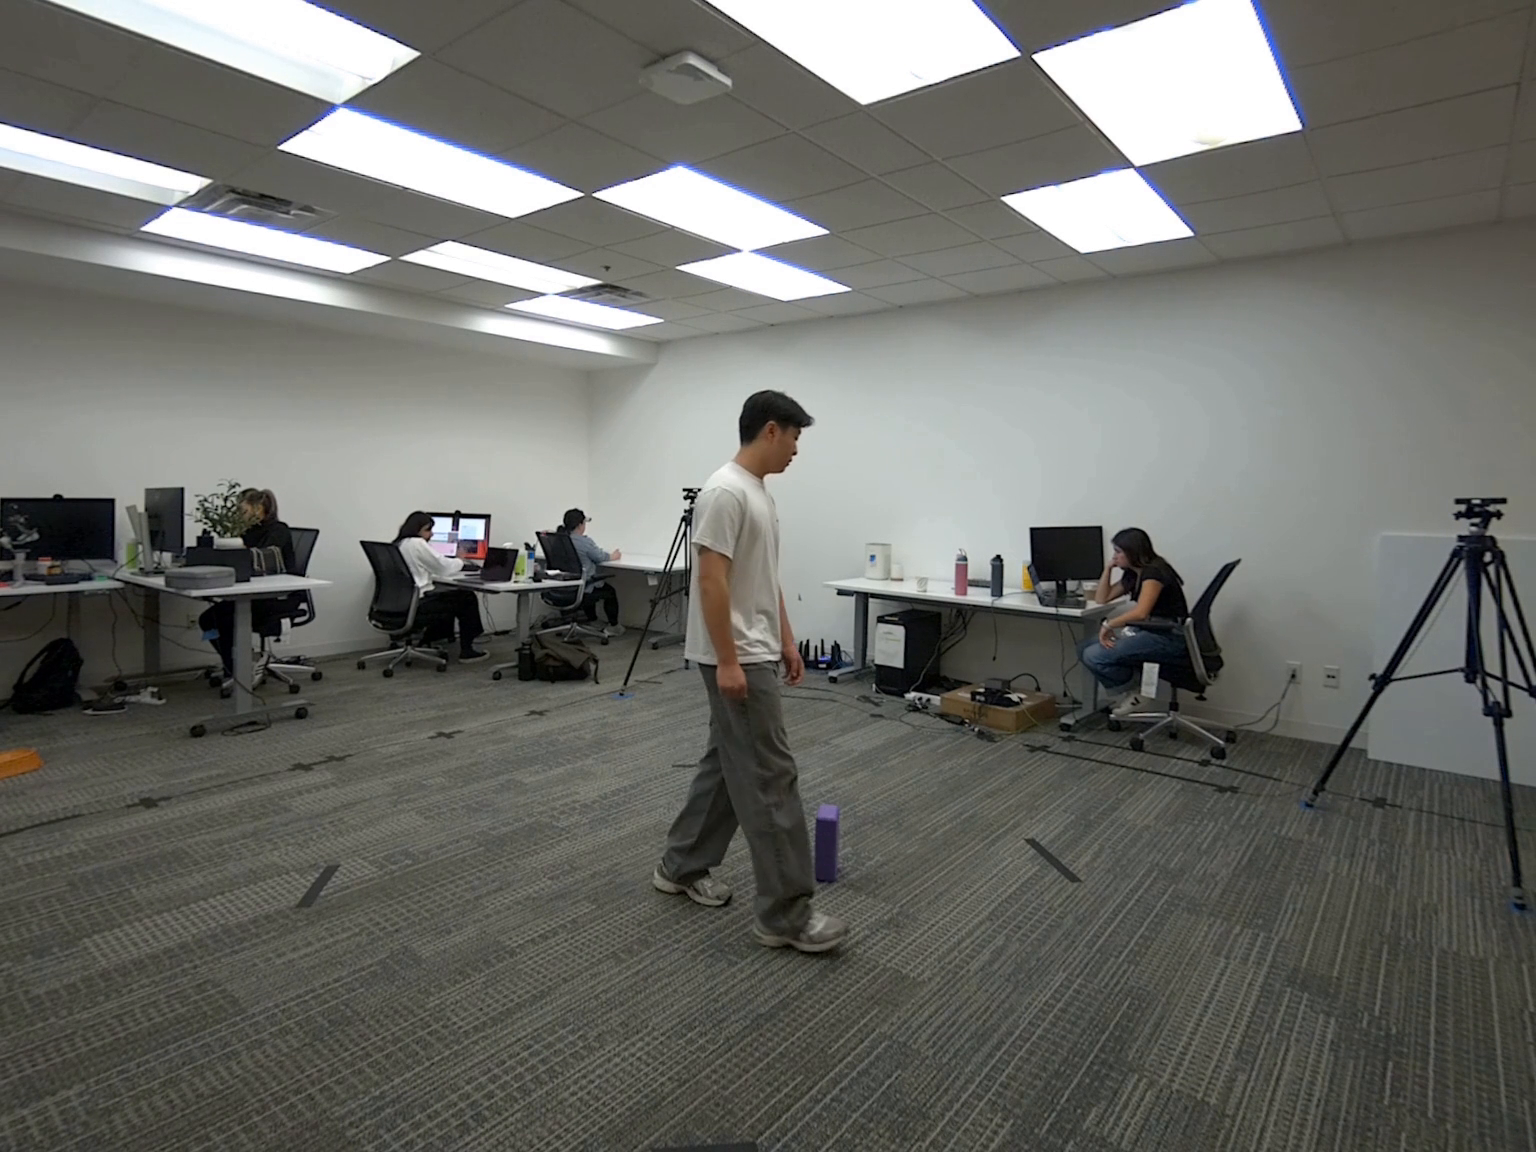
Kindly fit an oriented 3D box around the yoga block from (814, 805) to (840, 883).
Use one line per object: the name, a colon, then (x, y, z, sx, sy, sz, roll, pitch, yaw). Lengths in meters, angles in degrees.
yoga block: (0.218, 0.954, 3.096, 0.077, 0.229, 0.148, 1, 4, 7)
